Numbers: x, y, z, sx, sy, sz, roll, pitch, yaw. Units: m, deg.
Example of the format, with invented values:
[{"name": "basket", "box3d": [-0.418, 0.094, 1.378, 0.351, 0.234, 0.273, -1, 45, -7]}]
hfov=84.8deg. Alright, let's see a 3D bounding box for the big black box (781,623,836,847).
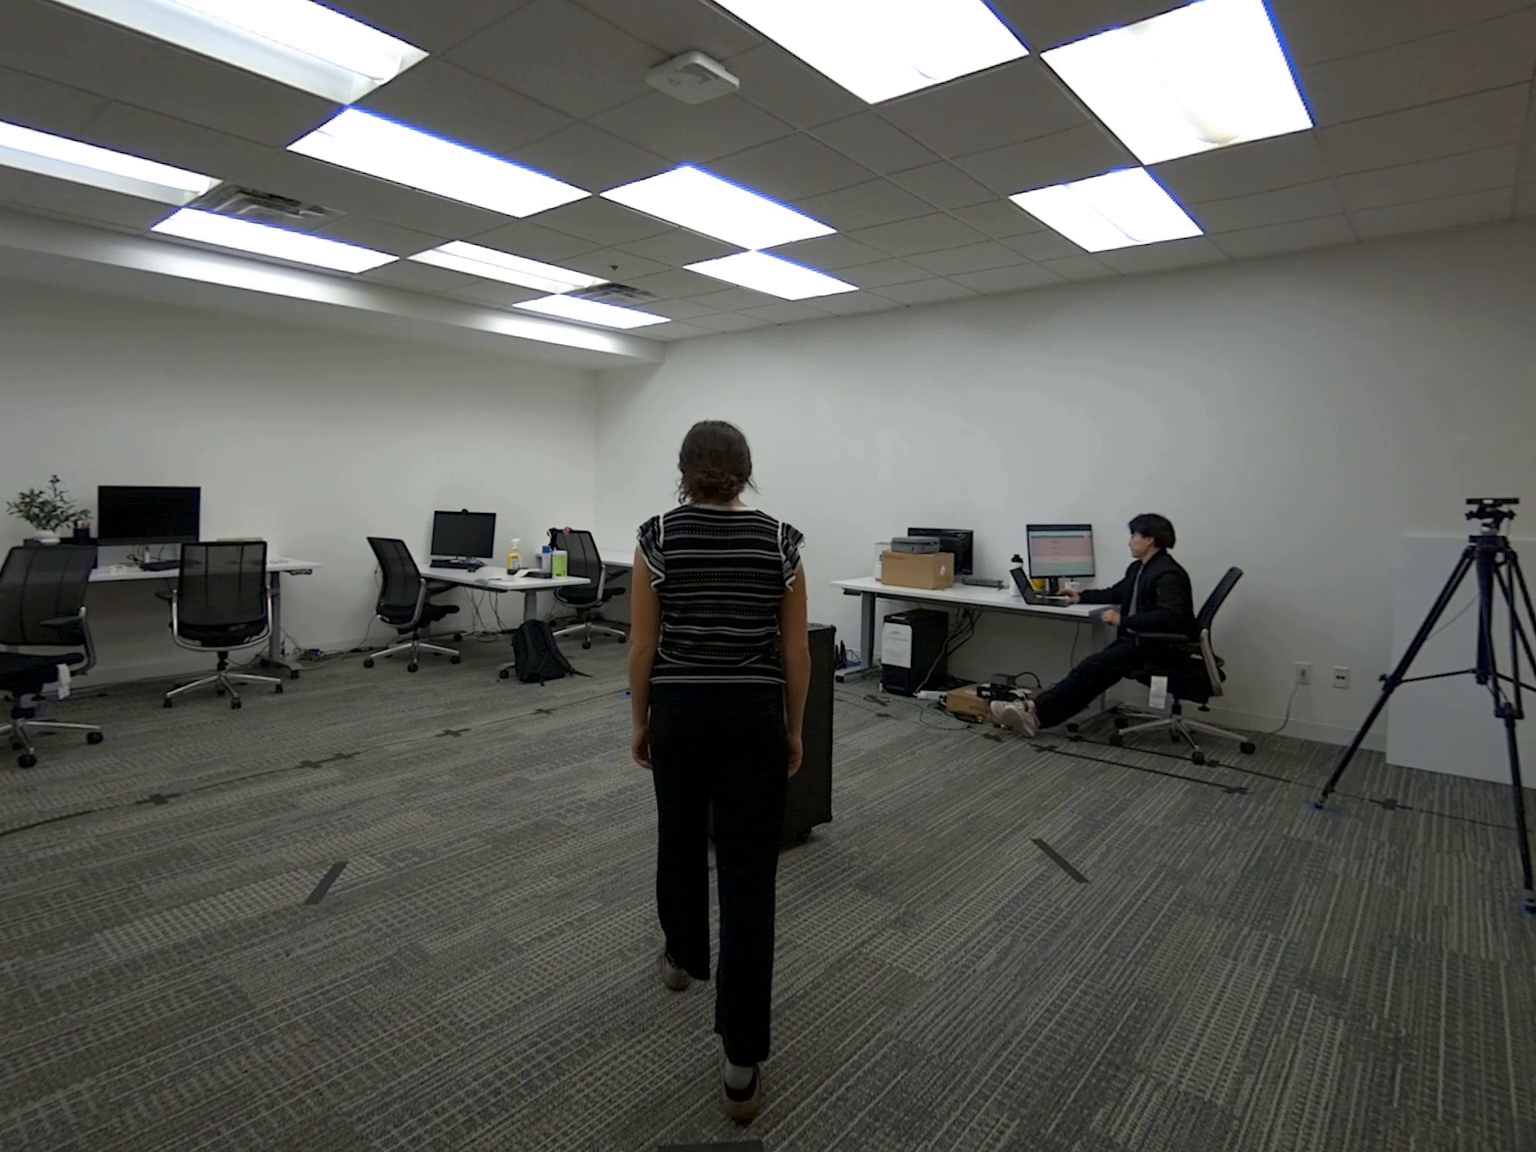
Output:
[{"name": "big black box", "box3d": [-0.052, 0.615, 3.368, 0.505, 0.860, 0.409, -2, 3, -42]}]
